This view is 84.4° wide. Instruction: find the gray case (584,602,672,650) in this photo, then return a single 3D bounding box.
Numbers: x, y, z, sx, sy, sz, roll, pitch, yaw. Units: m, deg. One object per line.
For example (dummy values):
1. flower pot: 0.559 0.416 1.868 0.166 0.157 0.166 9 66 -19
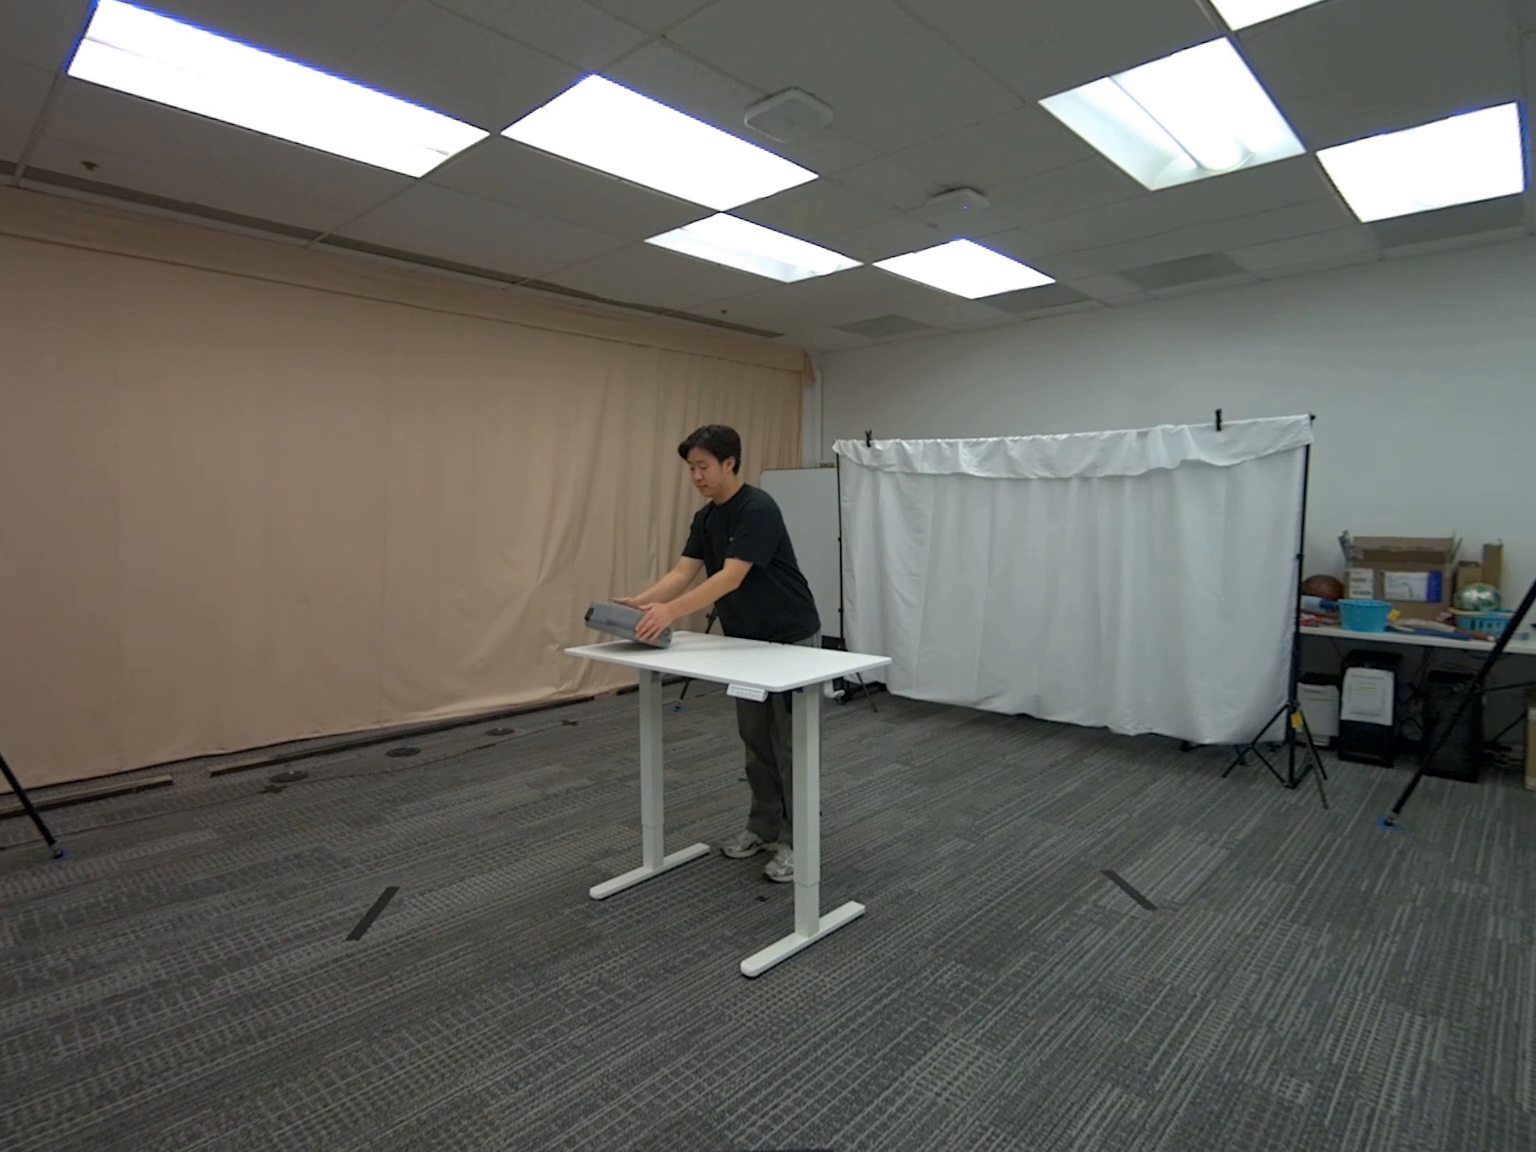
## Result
1. gray case: -0.502 0.178 3.055 0.252 0.104 0.265 11 -5 -39
